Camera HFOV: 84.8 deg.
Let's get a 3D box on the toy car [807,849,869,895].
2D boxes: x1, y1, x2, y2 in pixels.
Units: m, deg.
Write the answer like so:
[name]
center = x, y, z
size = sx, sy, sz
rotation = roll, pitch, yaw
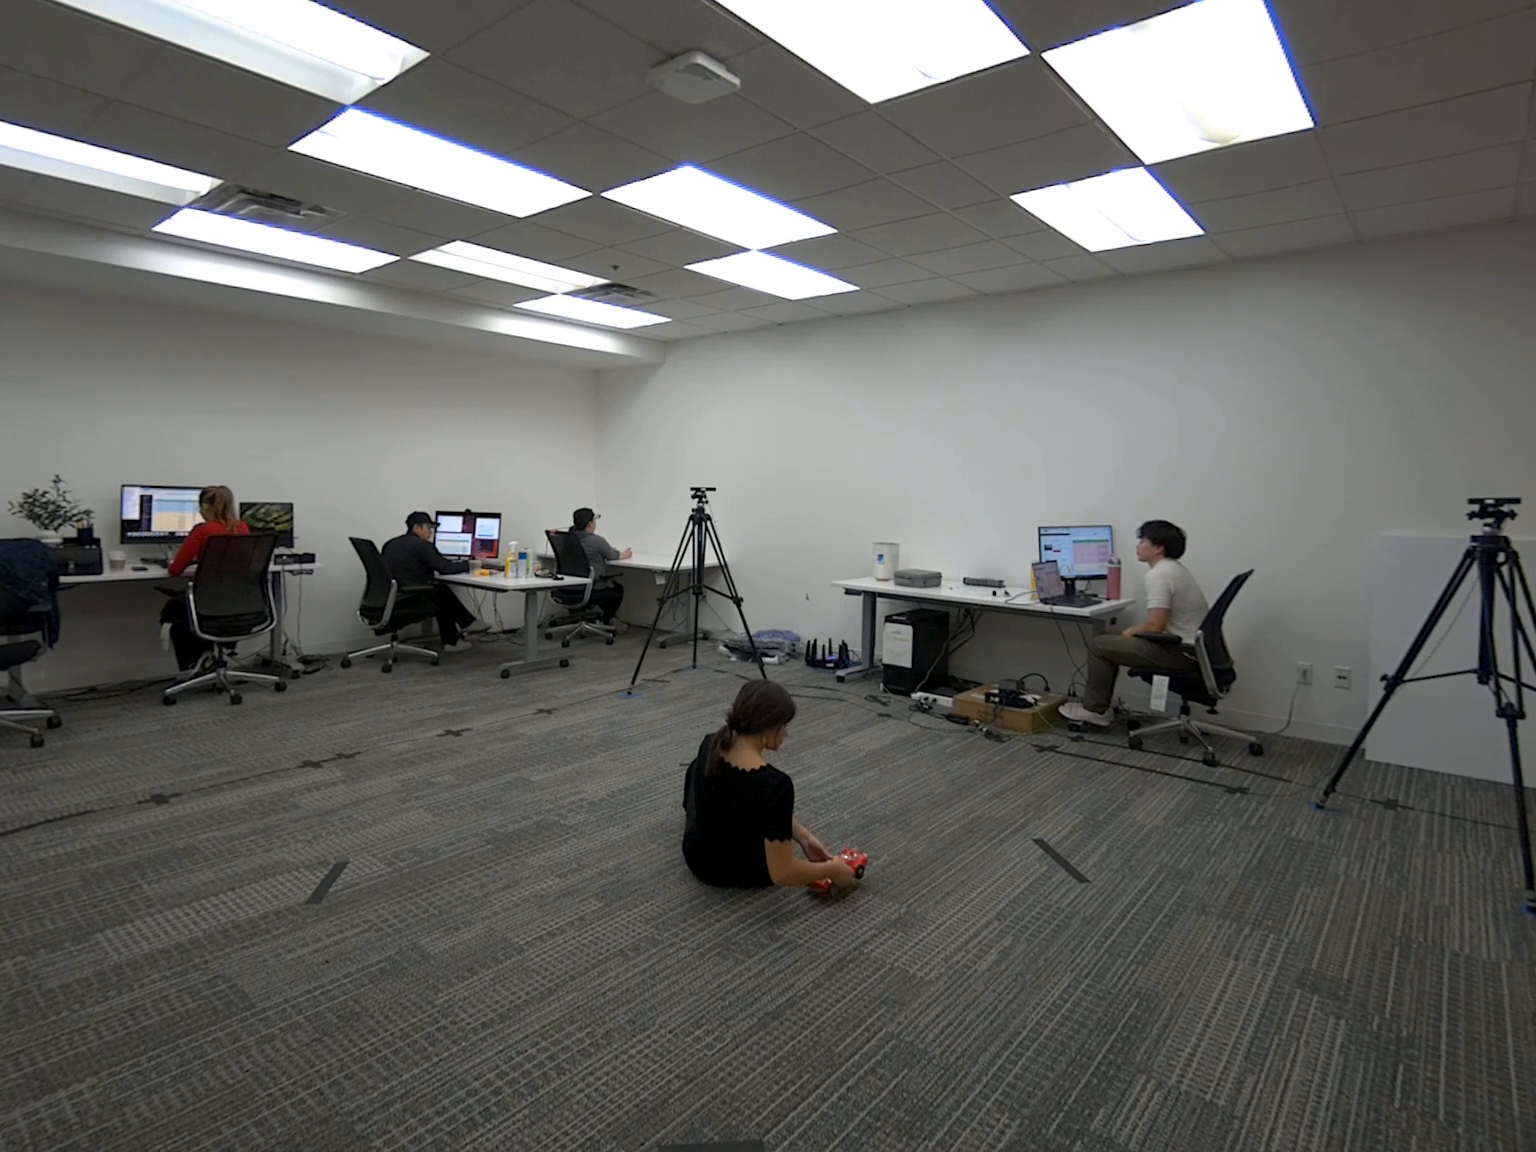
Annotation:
[toy car]
center = 0.245, 1.033, 2.974
size = 0.250, 0.082, 0.134
rotation = -27, 17, -39
